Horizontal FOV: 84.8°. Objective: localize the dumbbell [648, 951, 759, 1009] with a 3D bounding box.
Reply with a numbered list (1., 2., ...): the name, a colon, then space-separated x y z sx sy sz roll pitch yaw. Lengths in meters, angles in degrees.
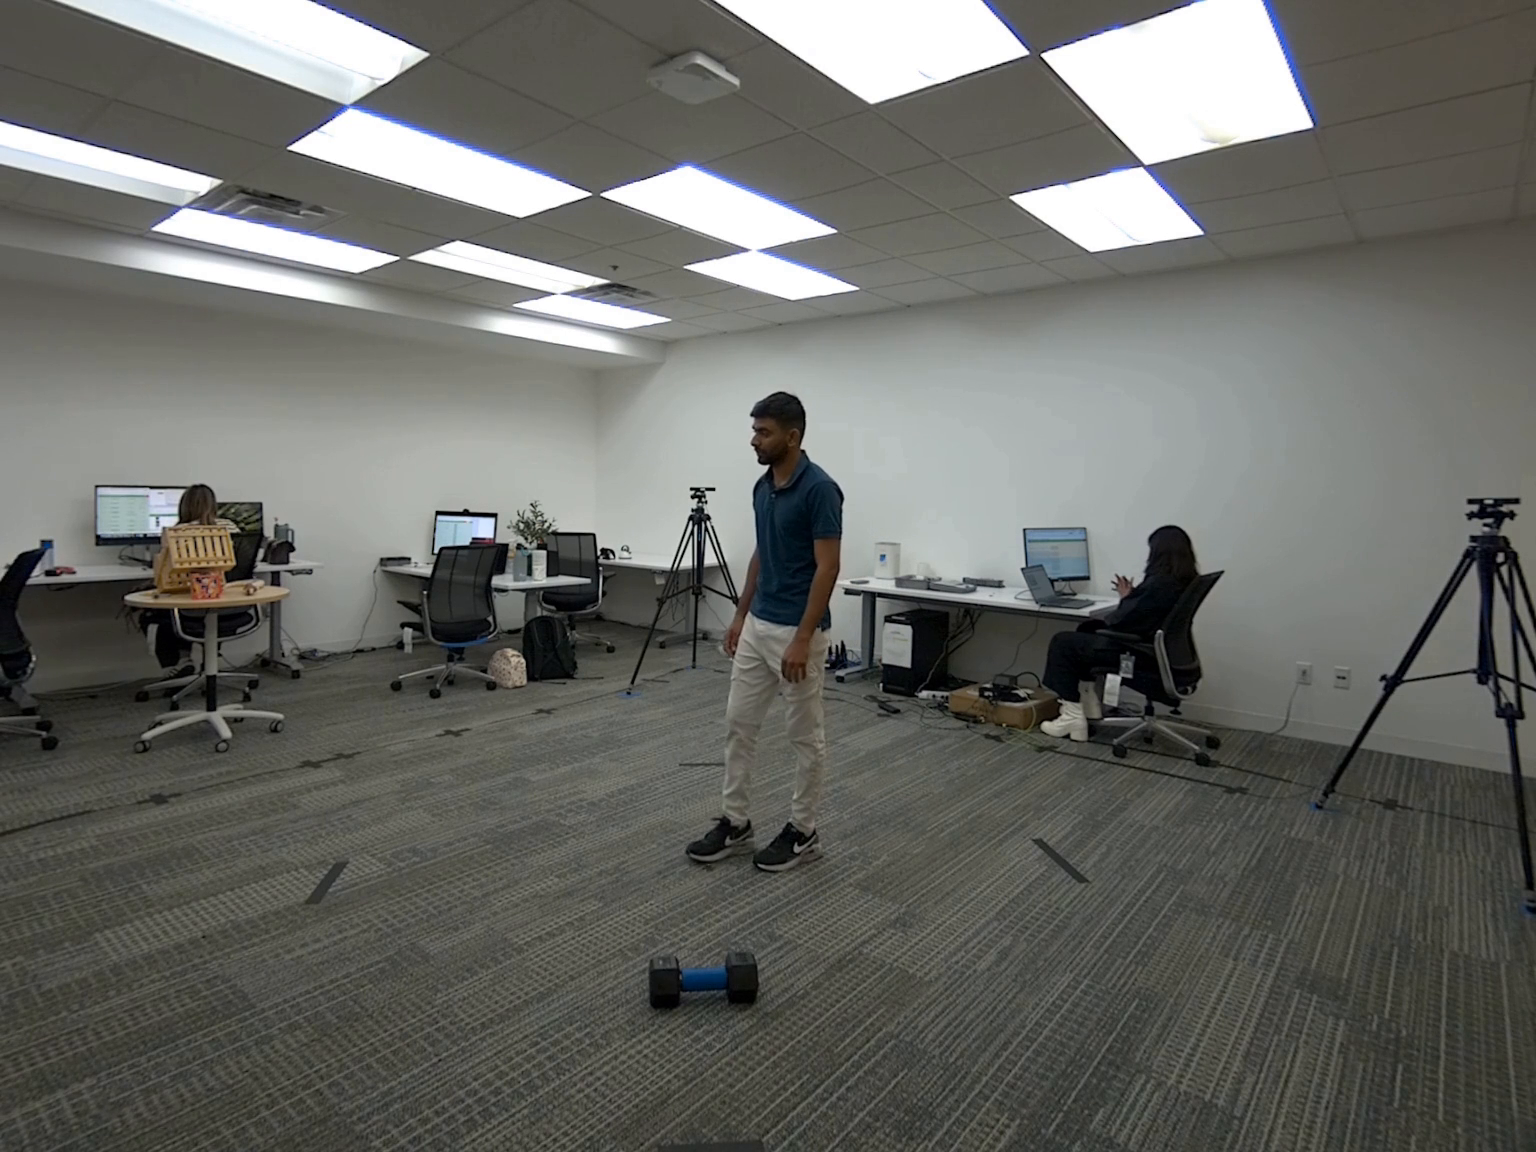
1. dumbbell: -0.180 1.096 2.309 0.291 0.108 0.124 1 6 -7
